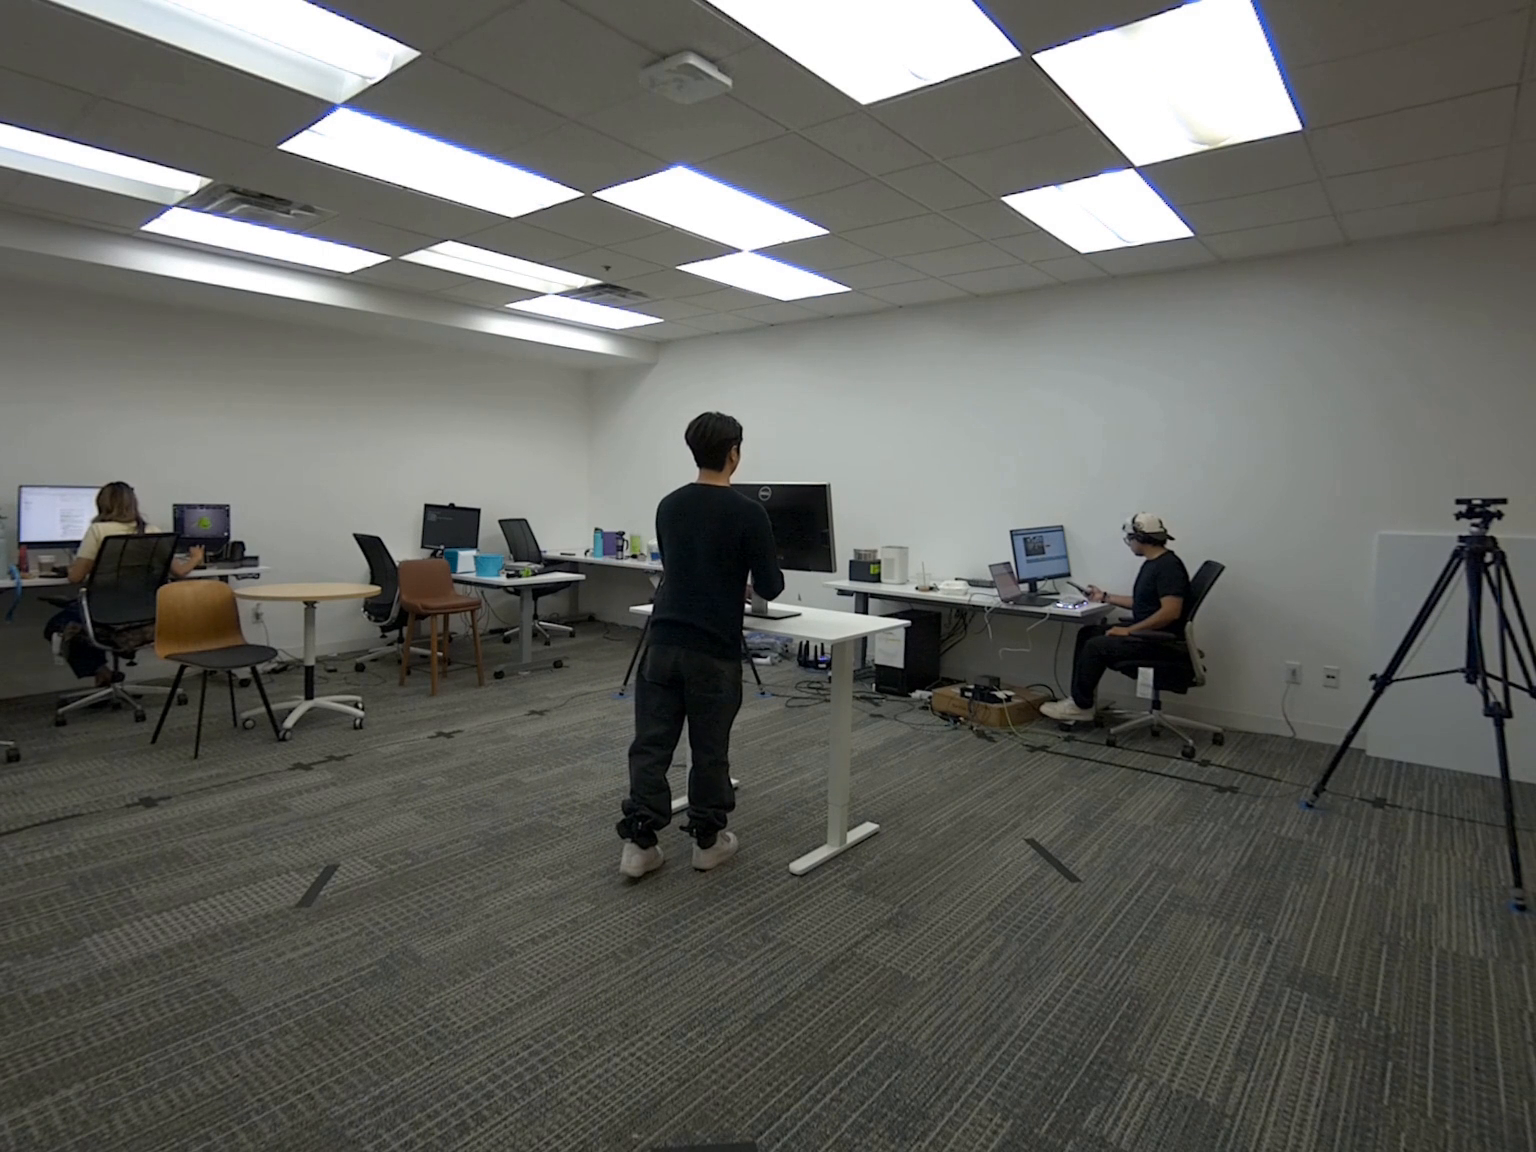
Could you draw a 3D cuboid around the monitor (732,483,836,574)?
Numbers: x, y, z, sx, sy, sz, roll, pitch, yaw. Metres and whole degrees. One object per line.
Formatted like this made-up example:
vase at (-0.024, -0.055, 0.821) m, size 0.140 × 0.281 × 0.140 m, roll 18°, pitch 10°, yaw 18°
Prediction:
monitor at (-0.008, -0.117, 3.477) m, size 0.546 × 0.518 × 0.169 m, roll 1°, pitch -4°, yaw 34°
